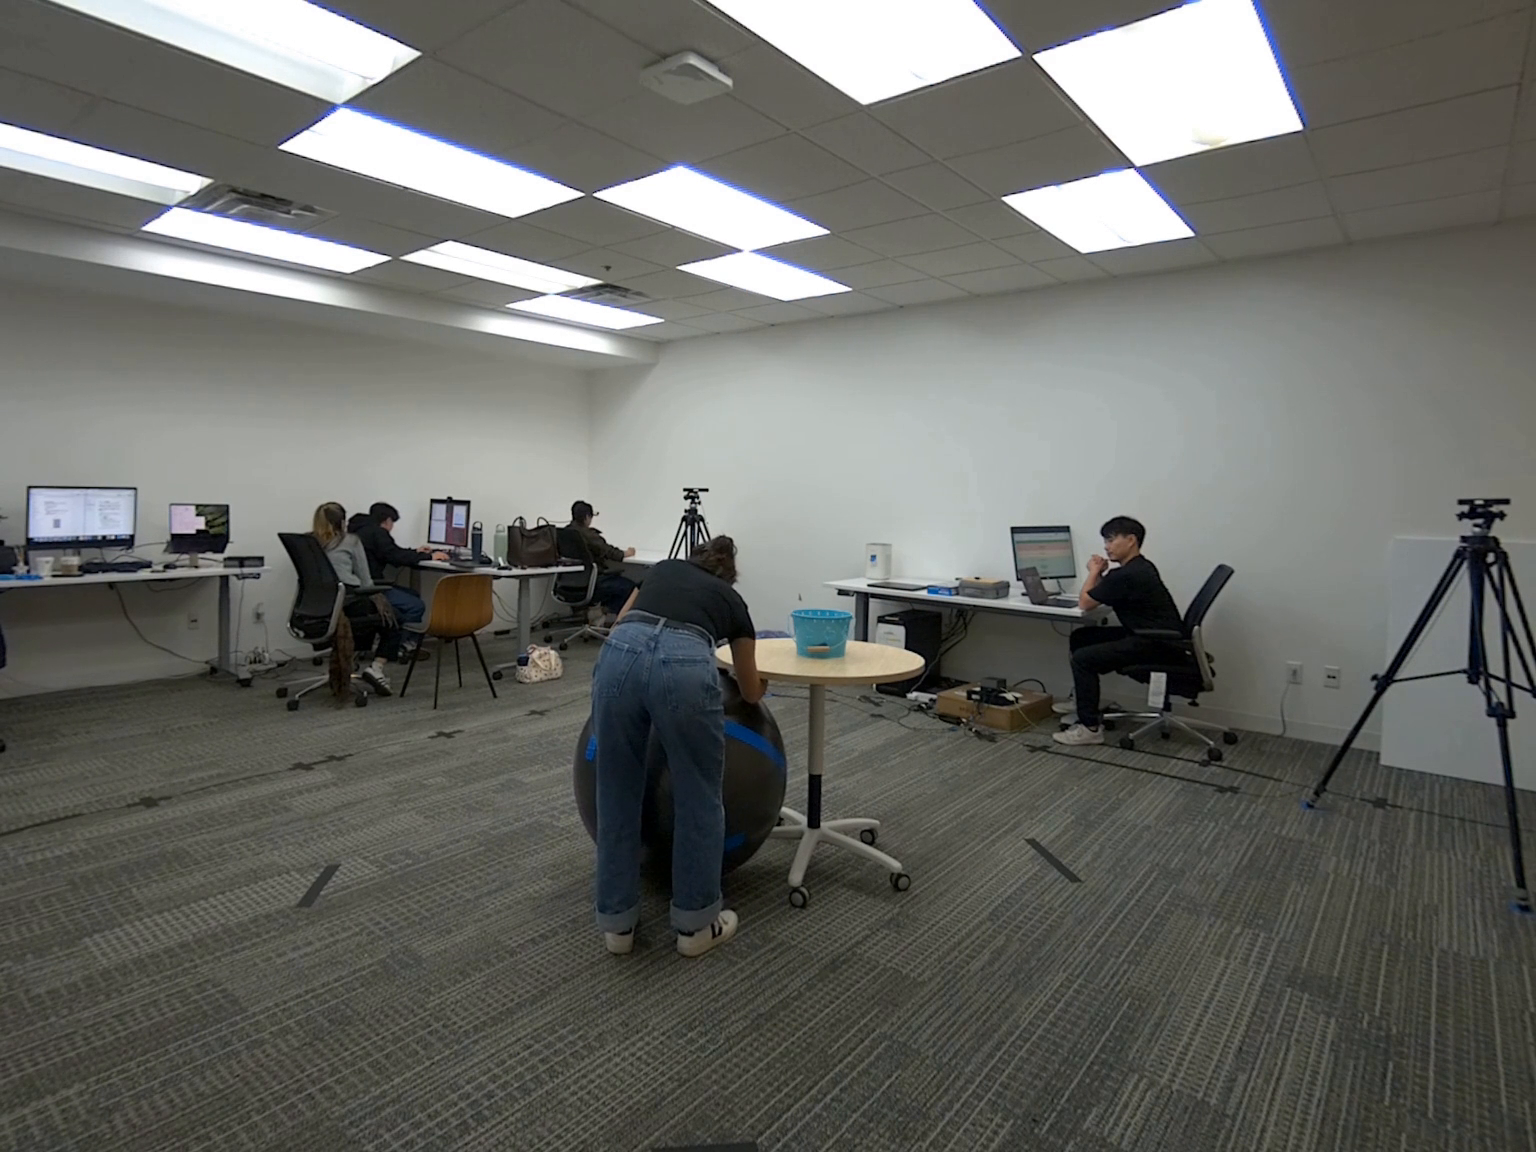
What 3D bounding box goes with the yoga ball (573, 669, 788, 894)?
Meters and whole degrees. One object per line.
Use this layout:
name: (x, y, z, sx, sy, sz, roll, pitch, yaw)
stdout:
yoga ball: (-0.324, 0.694, 3.037, 0.757, 0.755, 0.762, 1, 4, -2)
